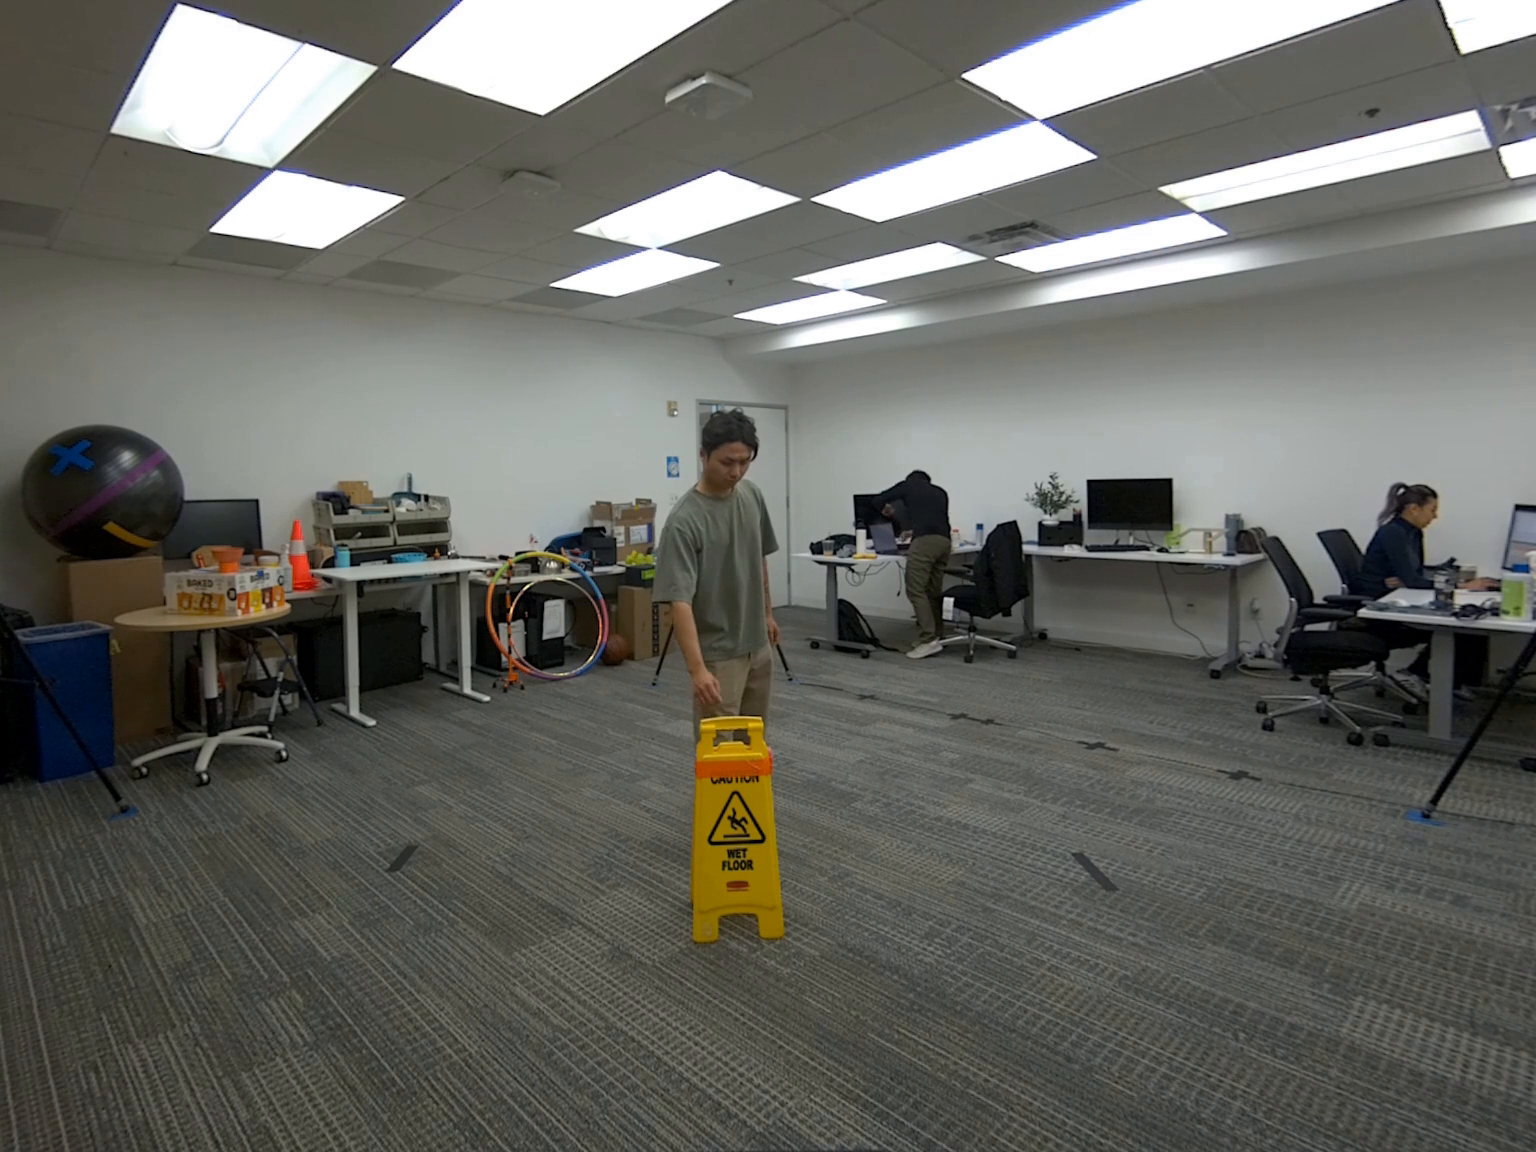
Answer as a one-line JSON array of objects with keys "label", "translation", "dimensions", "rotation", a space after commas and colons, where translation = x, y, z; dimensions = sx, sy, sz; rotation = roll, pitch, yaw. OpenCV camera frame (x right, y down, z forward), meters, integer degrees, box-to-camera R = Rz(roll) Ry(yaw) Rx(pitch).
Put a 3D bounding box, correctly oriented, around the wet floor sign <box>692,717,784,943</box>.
[{"label": "wet floor sign", "translation": [-0.114, 0.772, 2.697], "dimensions": [0.281, 0.643, 0.292], "rotation": [-2, 5, -5]}]
